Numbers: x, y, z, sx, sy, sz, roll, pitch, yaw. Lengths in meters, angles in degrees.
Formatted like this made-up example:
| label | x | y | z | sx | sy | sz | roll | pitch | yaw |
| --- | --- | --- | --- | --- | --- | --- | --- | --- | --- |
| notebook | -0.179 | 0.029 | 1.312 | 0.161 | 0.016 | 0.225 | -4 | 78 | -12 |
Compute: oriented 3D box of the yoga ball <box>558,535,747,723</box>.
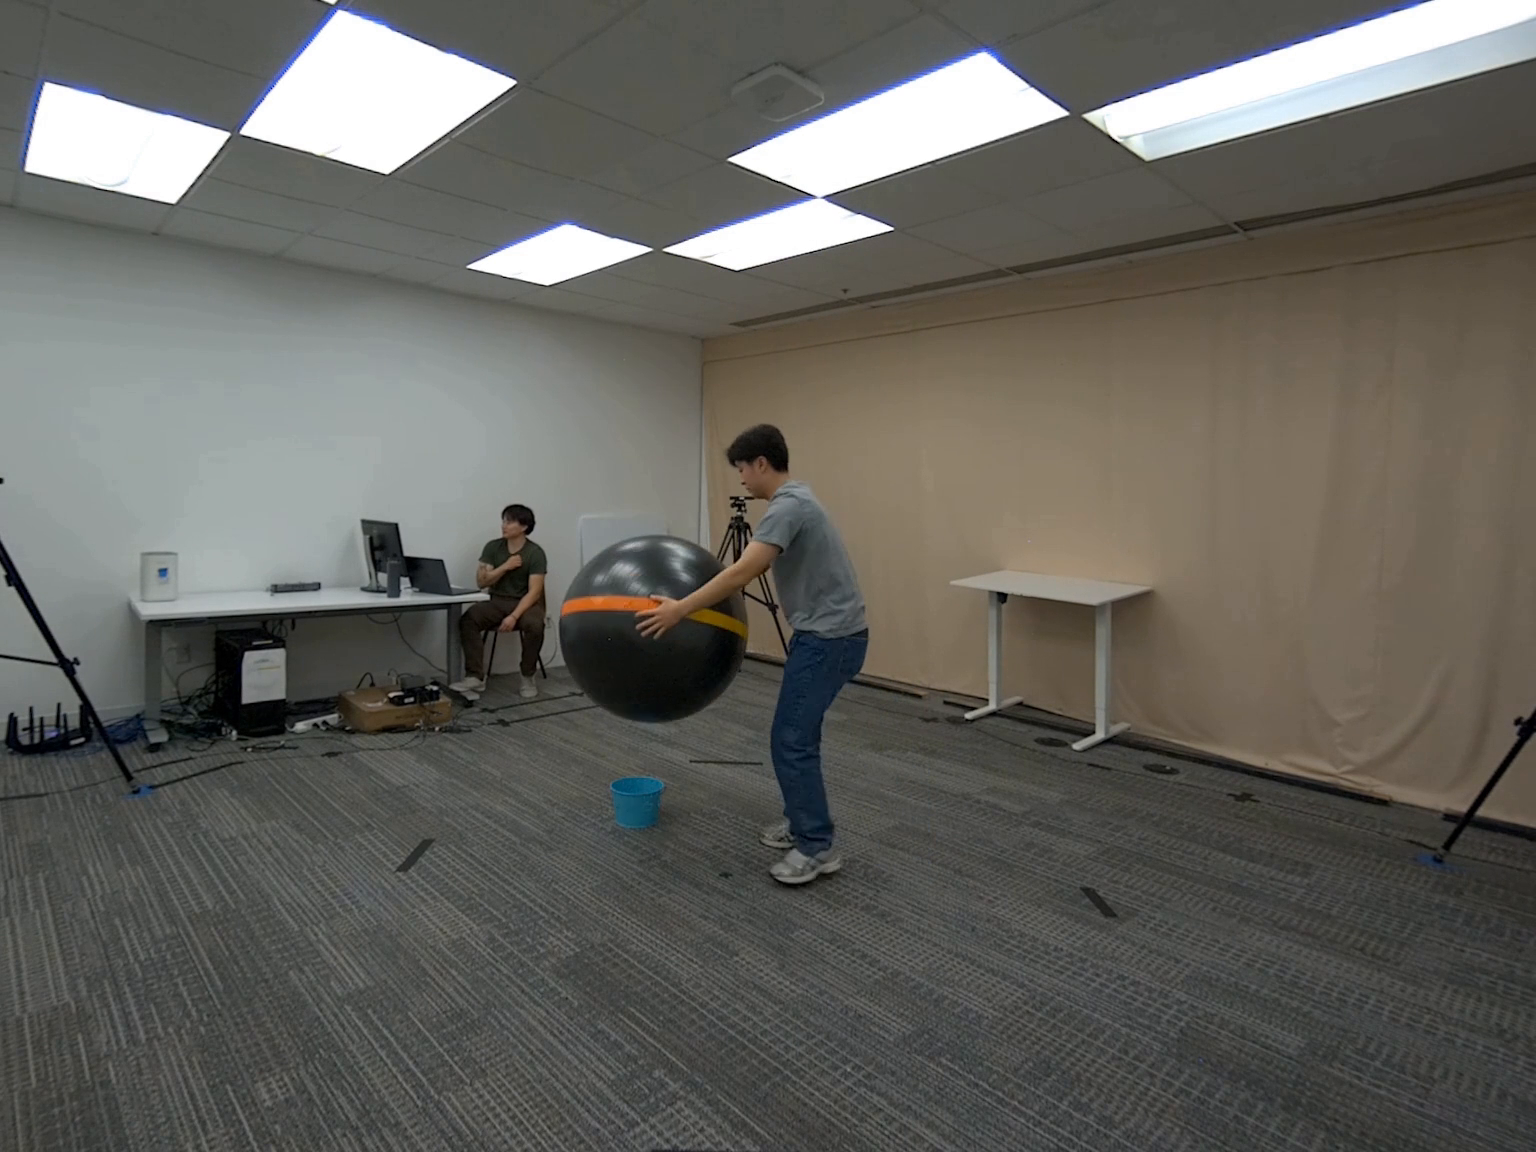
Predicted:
| label | x | y | z | sx | sy | sz | roll | pitch | yaw |
| --- | --- | --- | --- | --- | --- | --- | --- | --- | --- |
| yoga ball | -0.465 | 0.206 | 3.416 | 0.757 | 0.756 | 0.761 | 1 | 4 | -1 |
